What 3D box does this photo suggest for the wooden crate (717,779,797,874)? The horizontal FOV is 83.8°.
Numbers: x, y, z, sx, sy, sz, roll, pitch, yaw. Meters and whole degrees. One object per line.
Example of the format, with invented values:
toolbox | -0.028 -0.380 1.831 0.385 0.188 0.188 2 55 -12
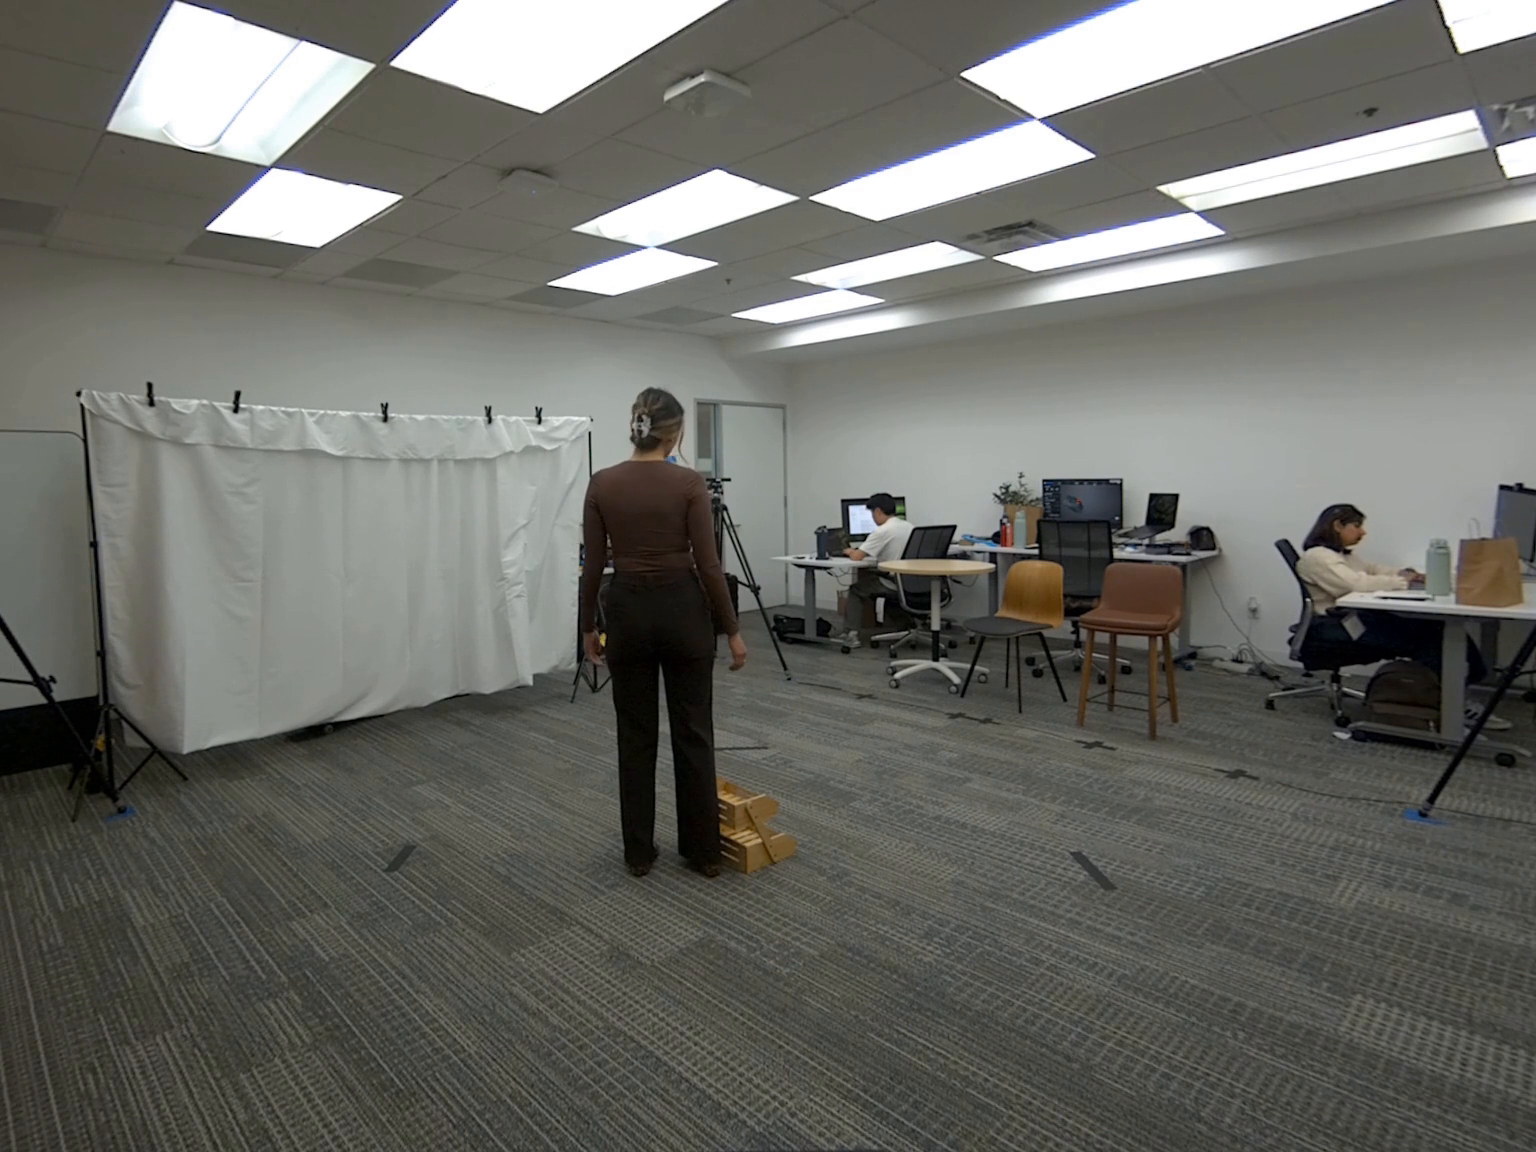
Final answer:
wooden crate | -0.096 0.898 3.198 0.294 0.272 0.334 -5 7 -40
